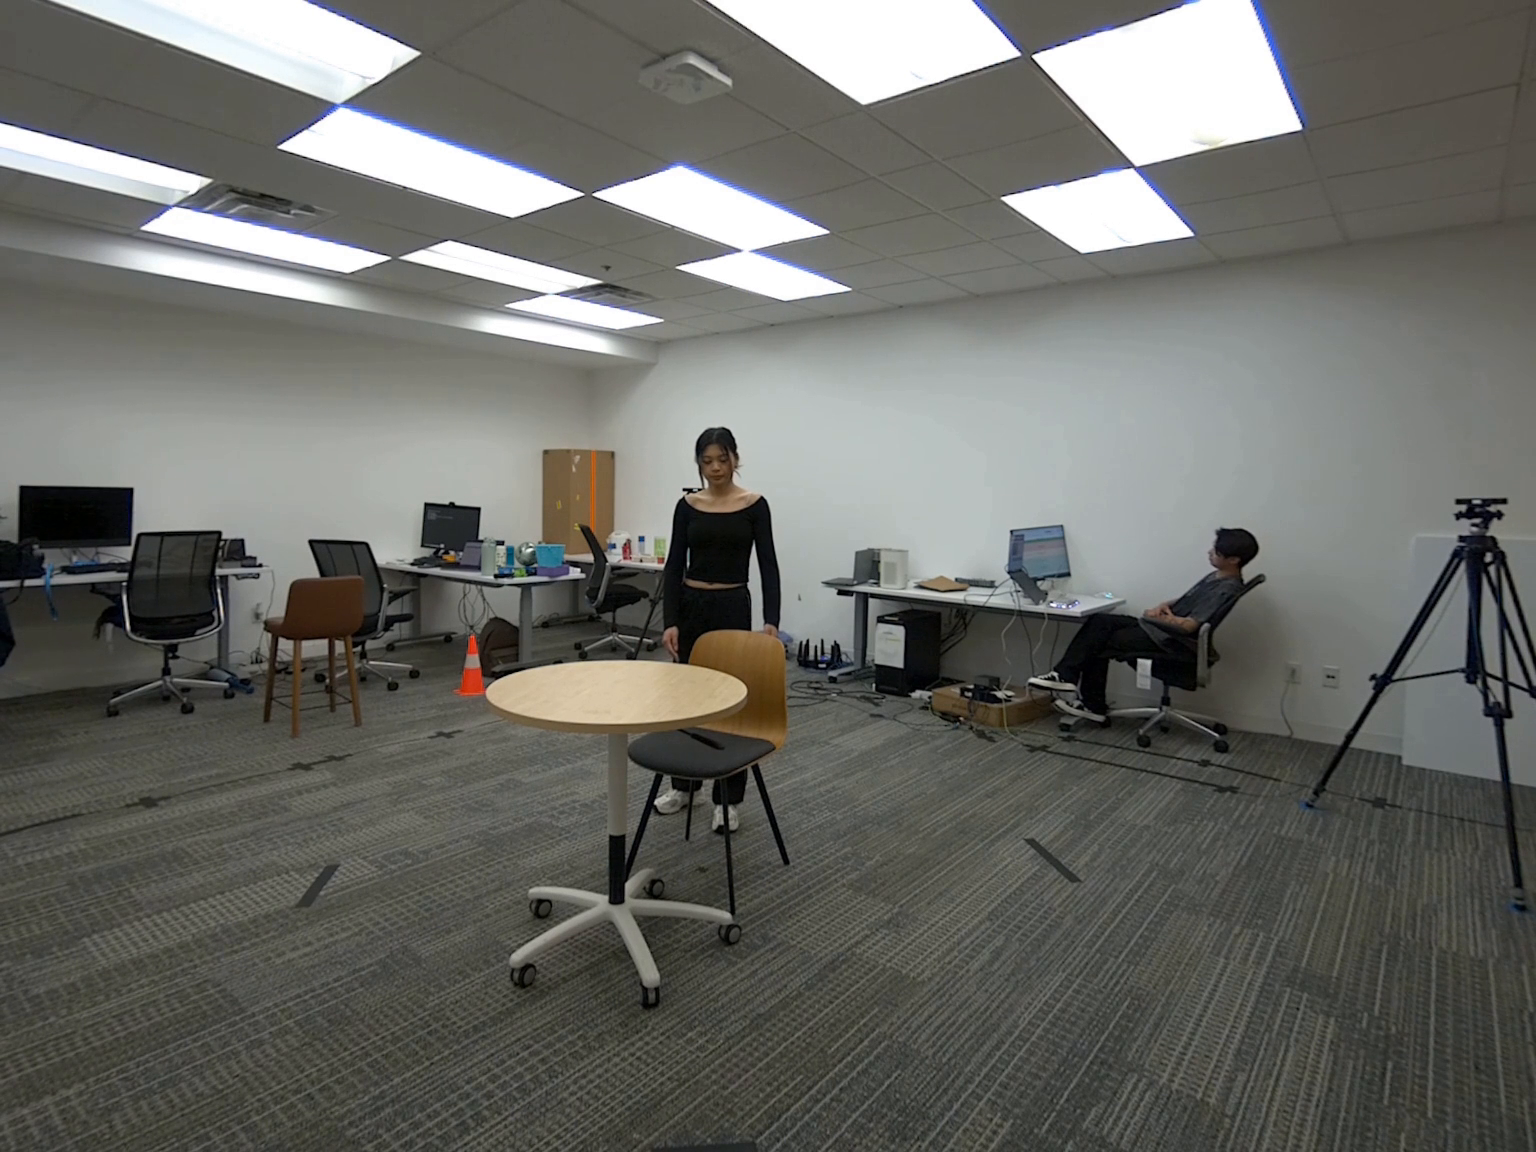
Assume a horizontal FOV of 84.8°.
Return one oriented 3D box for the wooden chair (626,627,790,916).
[{"bbox_3d":[-0.216,0.646,3.045,0.491,0.878,0.508,3,0,27],"label":"wooden chair"}]
